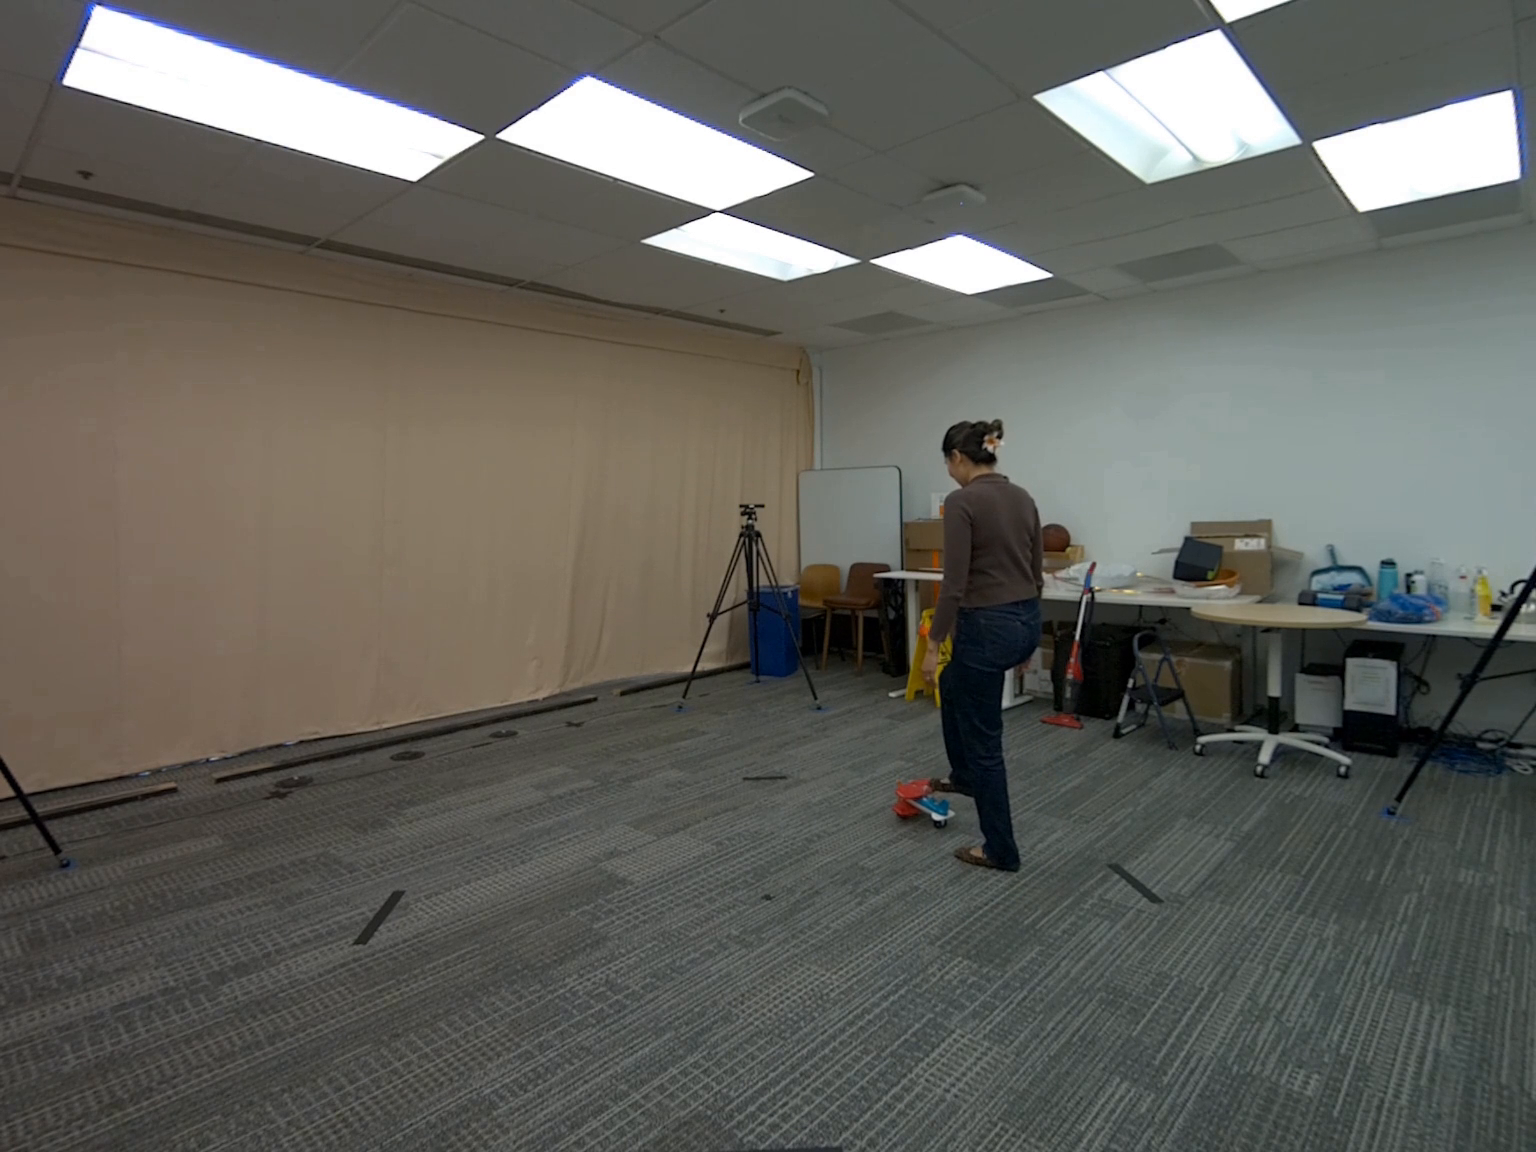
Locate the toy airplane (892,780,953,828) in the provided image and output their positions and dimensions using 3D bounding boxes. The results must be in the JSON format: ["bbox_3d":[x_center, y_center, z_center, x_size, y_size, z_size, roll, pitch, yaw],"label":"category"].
[{"bbox_3d":[0.695,0.994,3.685,0.266,0.156,0.245,0,4,25],"label":"toy airplane"}]
